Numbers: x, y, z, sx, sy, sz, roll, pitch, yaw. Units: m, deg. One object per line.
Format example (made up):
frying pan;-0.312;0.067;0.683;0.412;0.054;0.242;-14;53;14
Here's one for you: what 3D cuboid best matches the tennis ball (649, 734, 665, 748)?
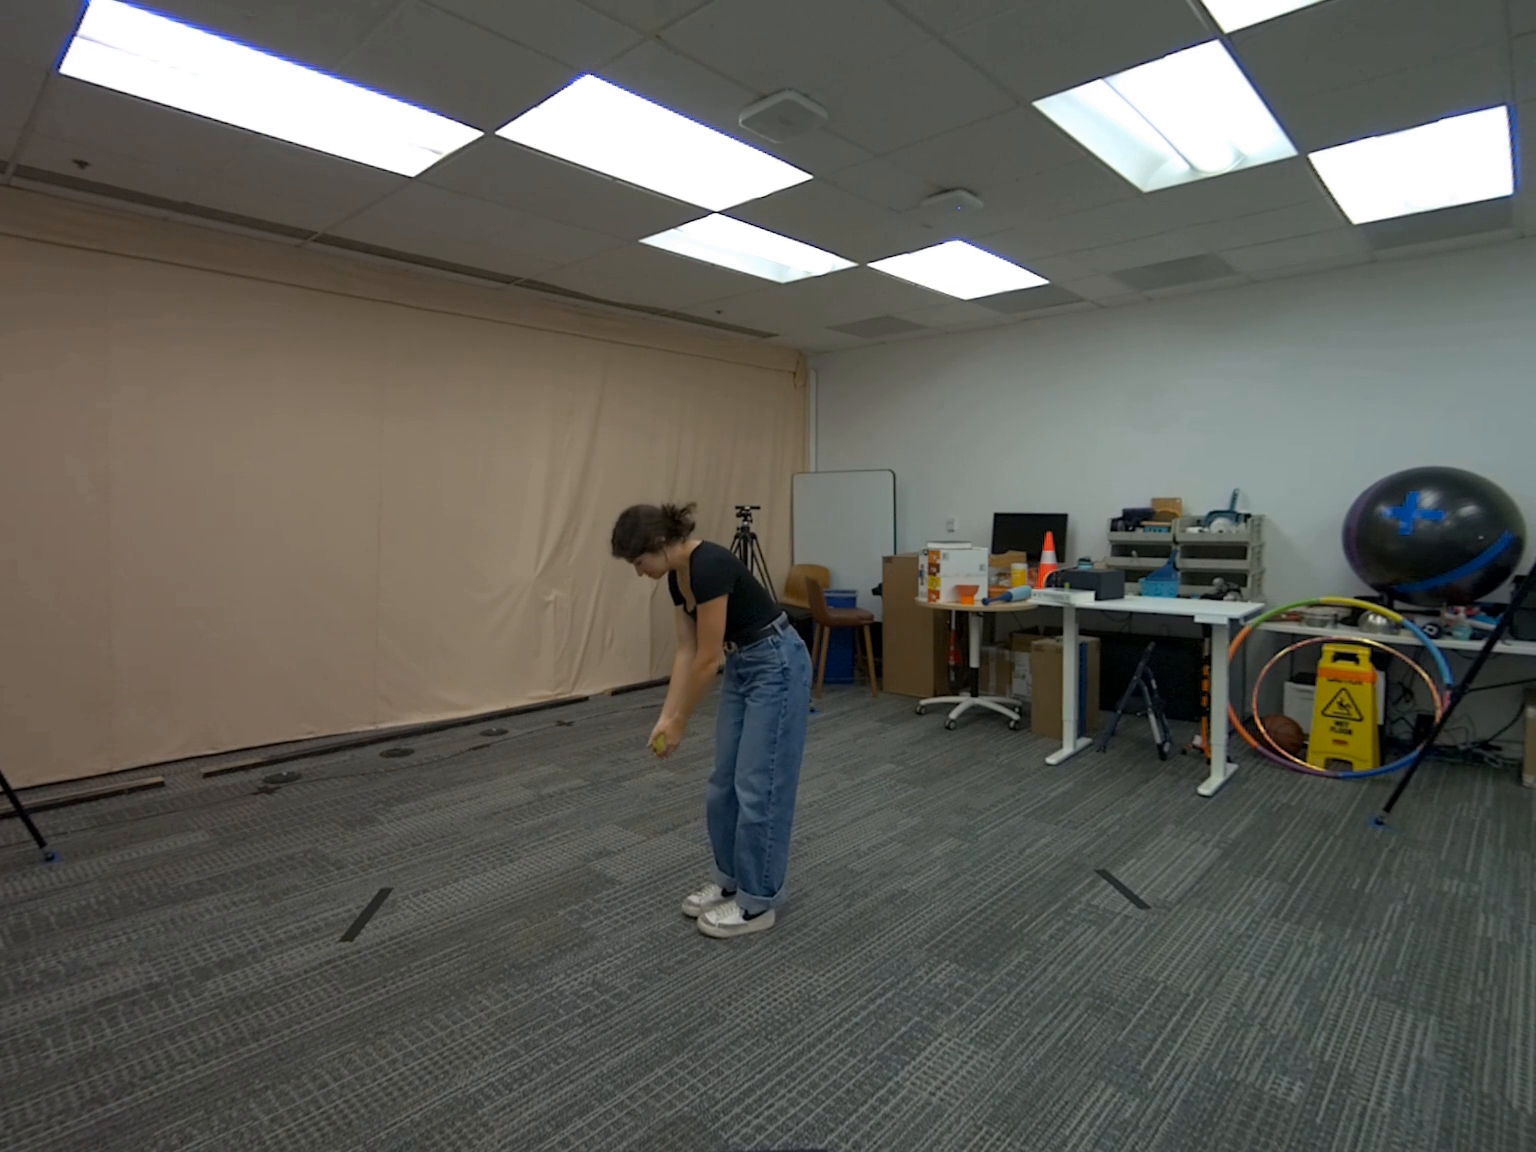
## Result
tennis ball;-0.360;0.499;2.801;0.066;0.066;0.067;0;4;-2
